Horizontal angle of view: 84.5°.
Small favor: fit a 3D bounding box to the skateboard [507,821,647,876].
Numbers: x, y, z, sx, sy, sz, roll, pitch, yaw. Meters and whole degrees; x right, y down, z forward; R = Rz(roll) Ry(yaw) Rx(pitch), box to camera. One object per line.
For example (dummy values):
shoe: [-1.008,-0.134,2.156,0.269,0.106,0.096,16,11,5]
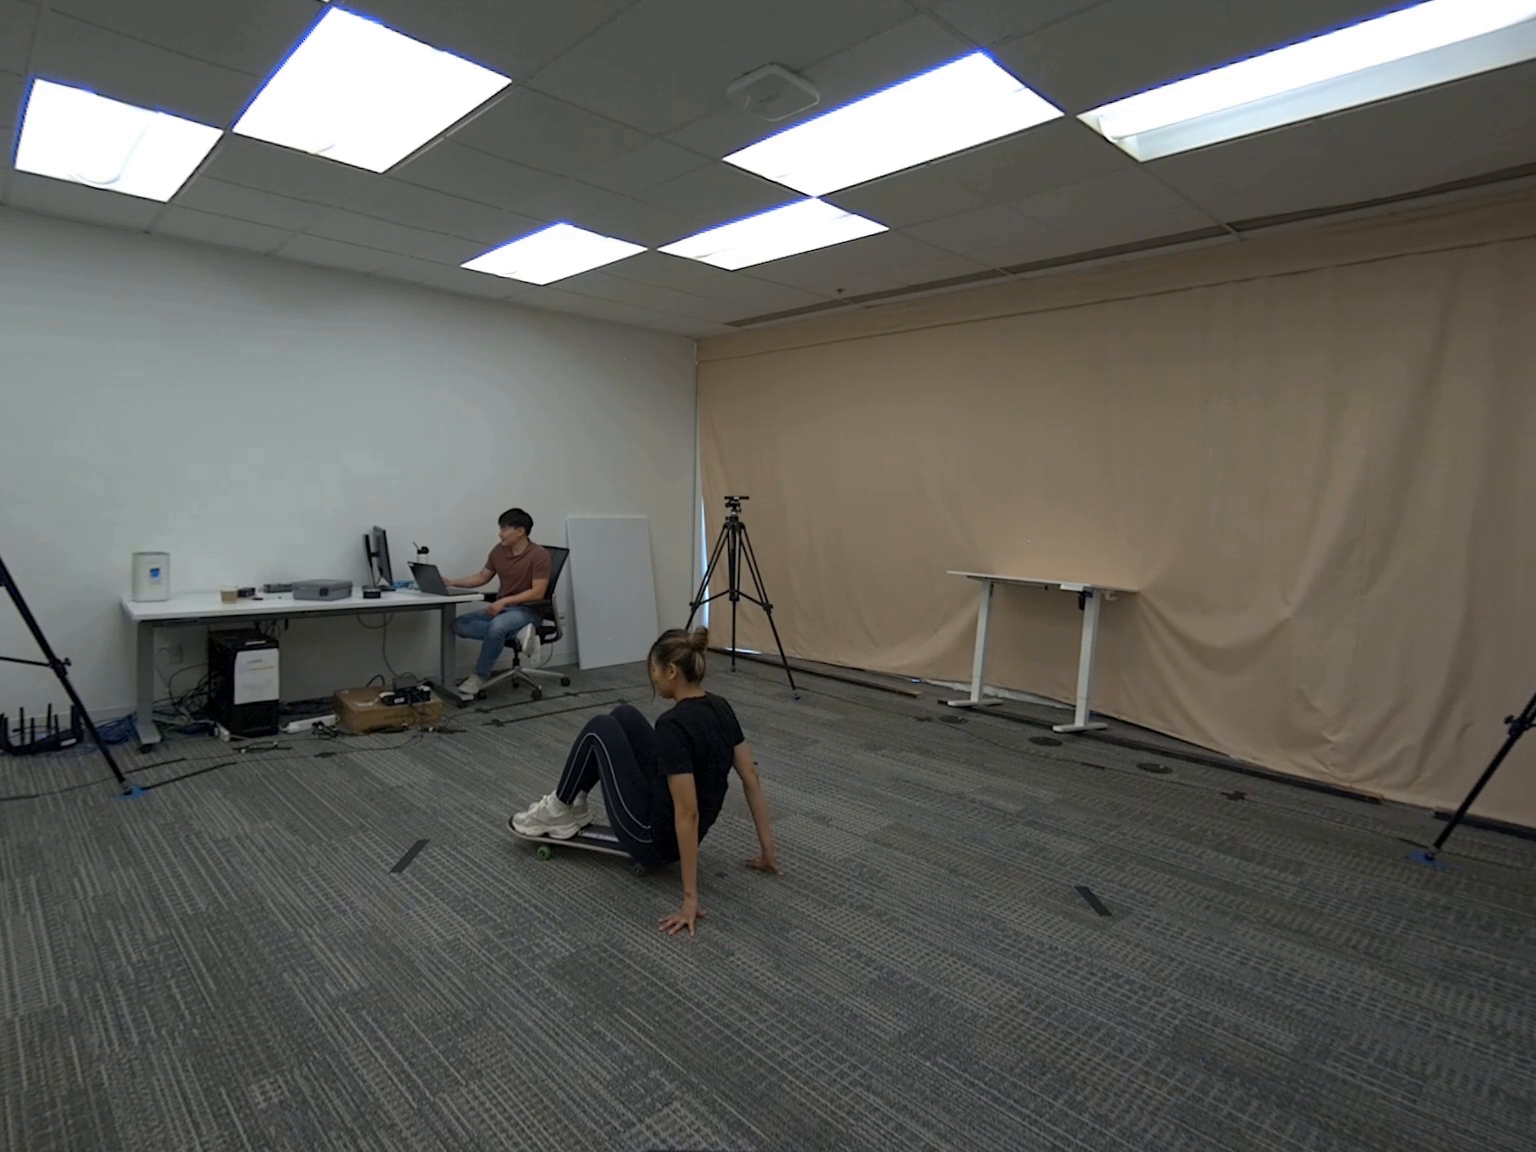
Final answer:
skateboard: [-0.636,1.028,3.213,0.797,0.110,0.191,4,3,18]
